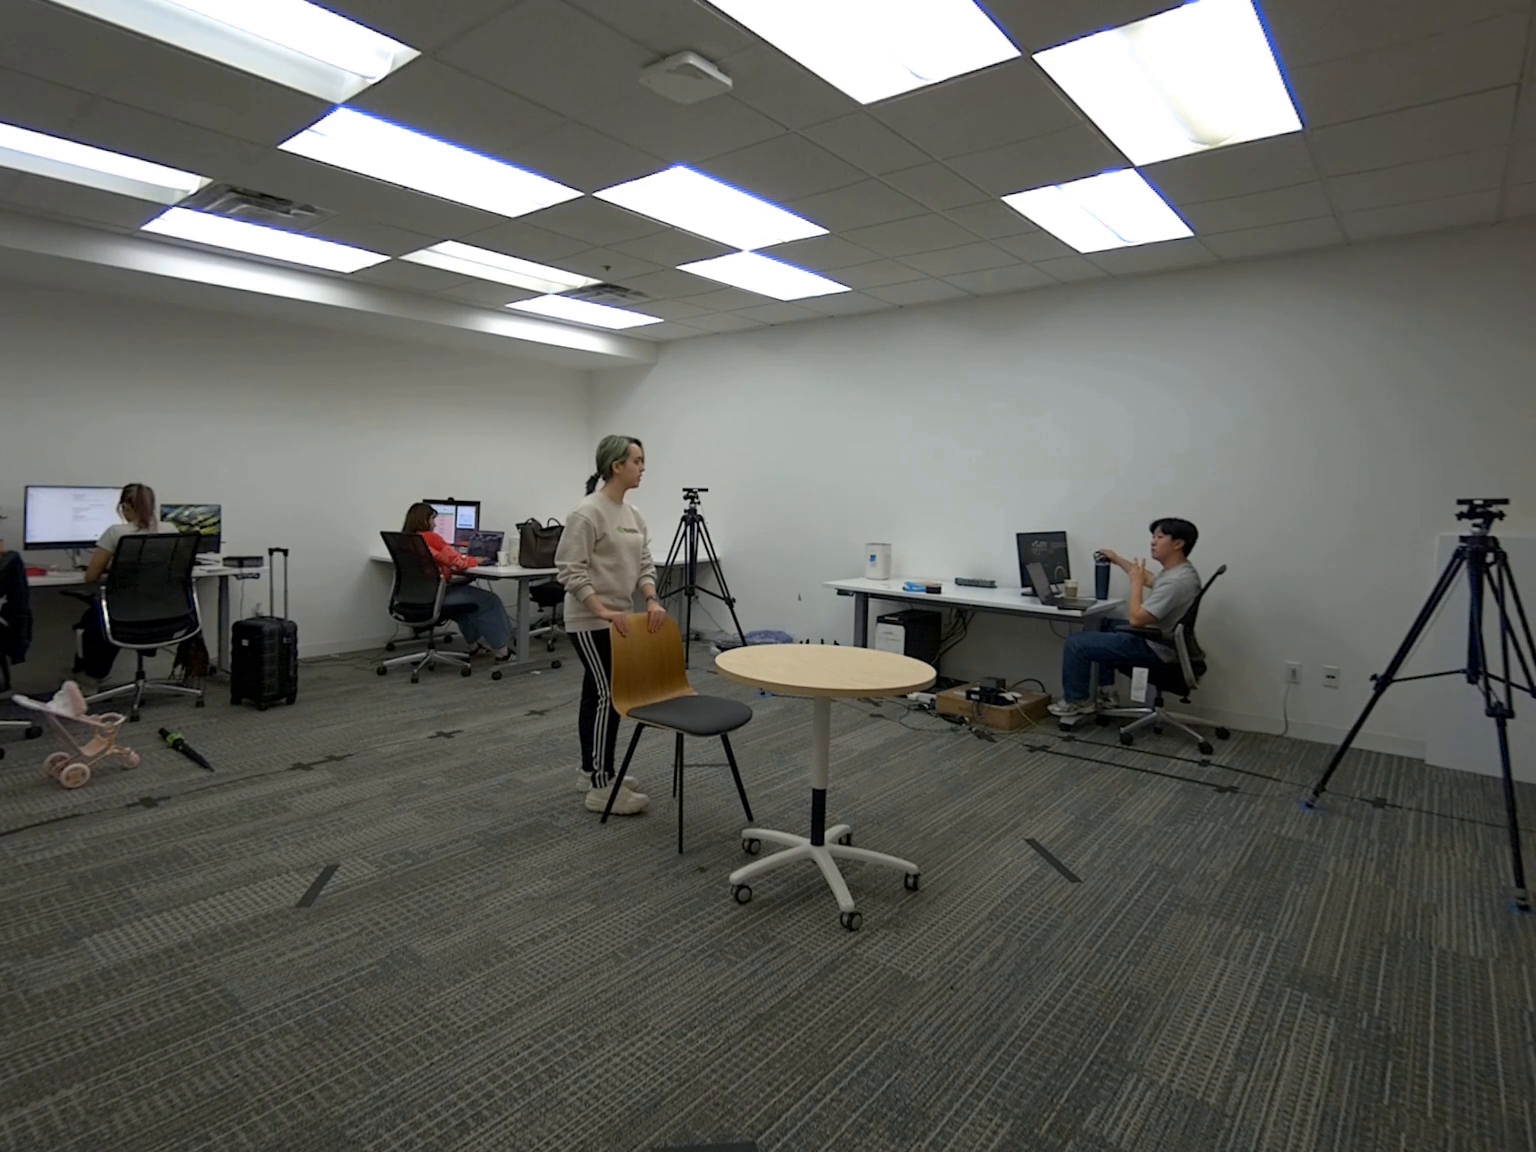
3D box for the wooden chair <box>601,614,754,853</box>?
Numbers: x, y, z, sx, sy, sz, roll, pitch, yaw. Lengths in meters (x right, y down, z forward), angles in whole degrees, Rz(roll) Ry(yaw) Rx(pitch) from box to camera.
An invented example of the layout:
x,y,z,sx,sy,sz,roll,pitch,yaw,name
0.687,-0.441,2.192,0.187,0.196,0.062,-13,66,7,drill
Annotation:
x,y,z,sx,sy,sz,roll,pitch,yaw,name
-0.366,0.598,3.513,0.539,0.878,0.464,-2,0,39,wooden chair
